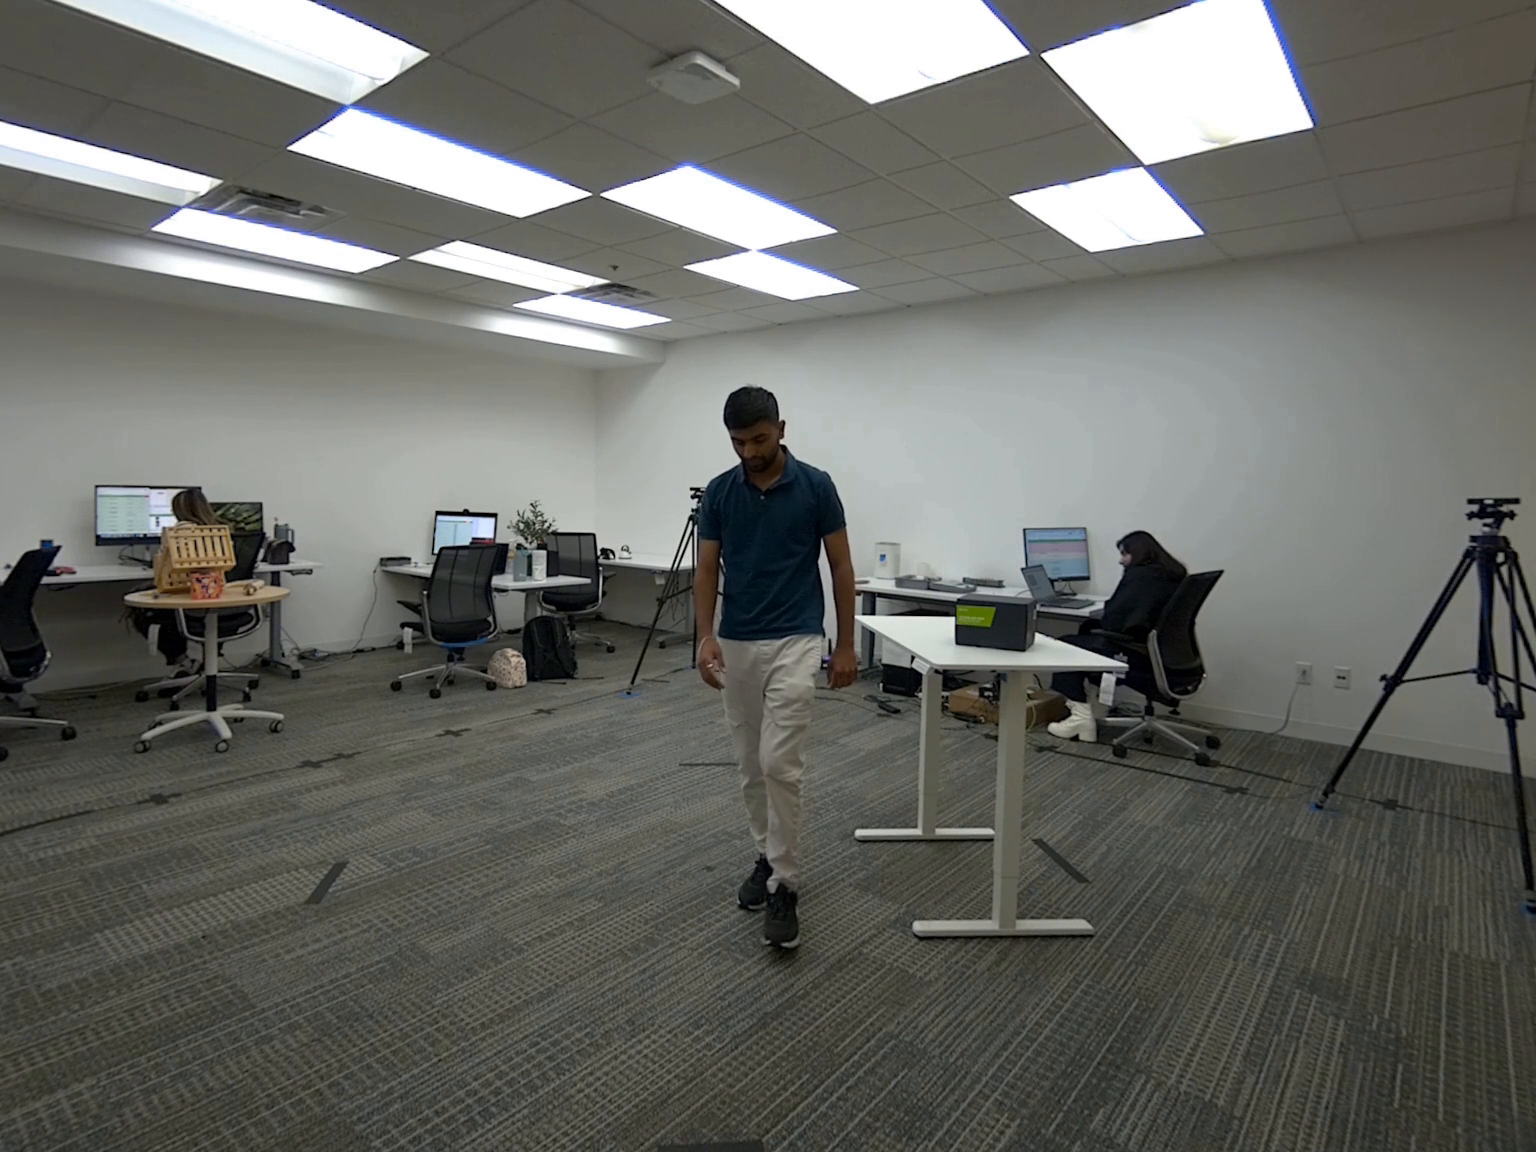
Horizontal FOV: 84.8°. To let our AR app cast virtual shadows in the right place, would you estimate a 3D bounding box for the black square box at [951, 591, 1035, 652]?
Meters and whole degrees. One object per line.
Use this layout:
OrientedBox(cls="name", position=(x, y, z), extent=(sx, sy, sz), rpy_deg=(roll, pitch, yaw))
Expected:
OrientedBox(cls="black square box", position=(0.770, 0.149, 2.876), extent=(0.234, 0.155, 0.212), rpy_deg=(4, 5, 26))
